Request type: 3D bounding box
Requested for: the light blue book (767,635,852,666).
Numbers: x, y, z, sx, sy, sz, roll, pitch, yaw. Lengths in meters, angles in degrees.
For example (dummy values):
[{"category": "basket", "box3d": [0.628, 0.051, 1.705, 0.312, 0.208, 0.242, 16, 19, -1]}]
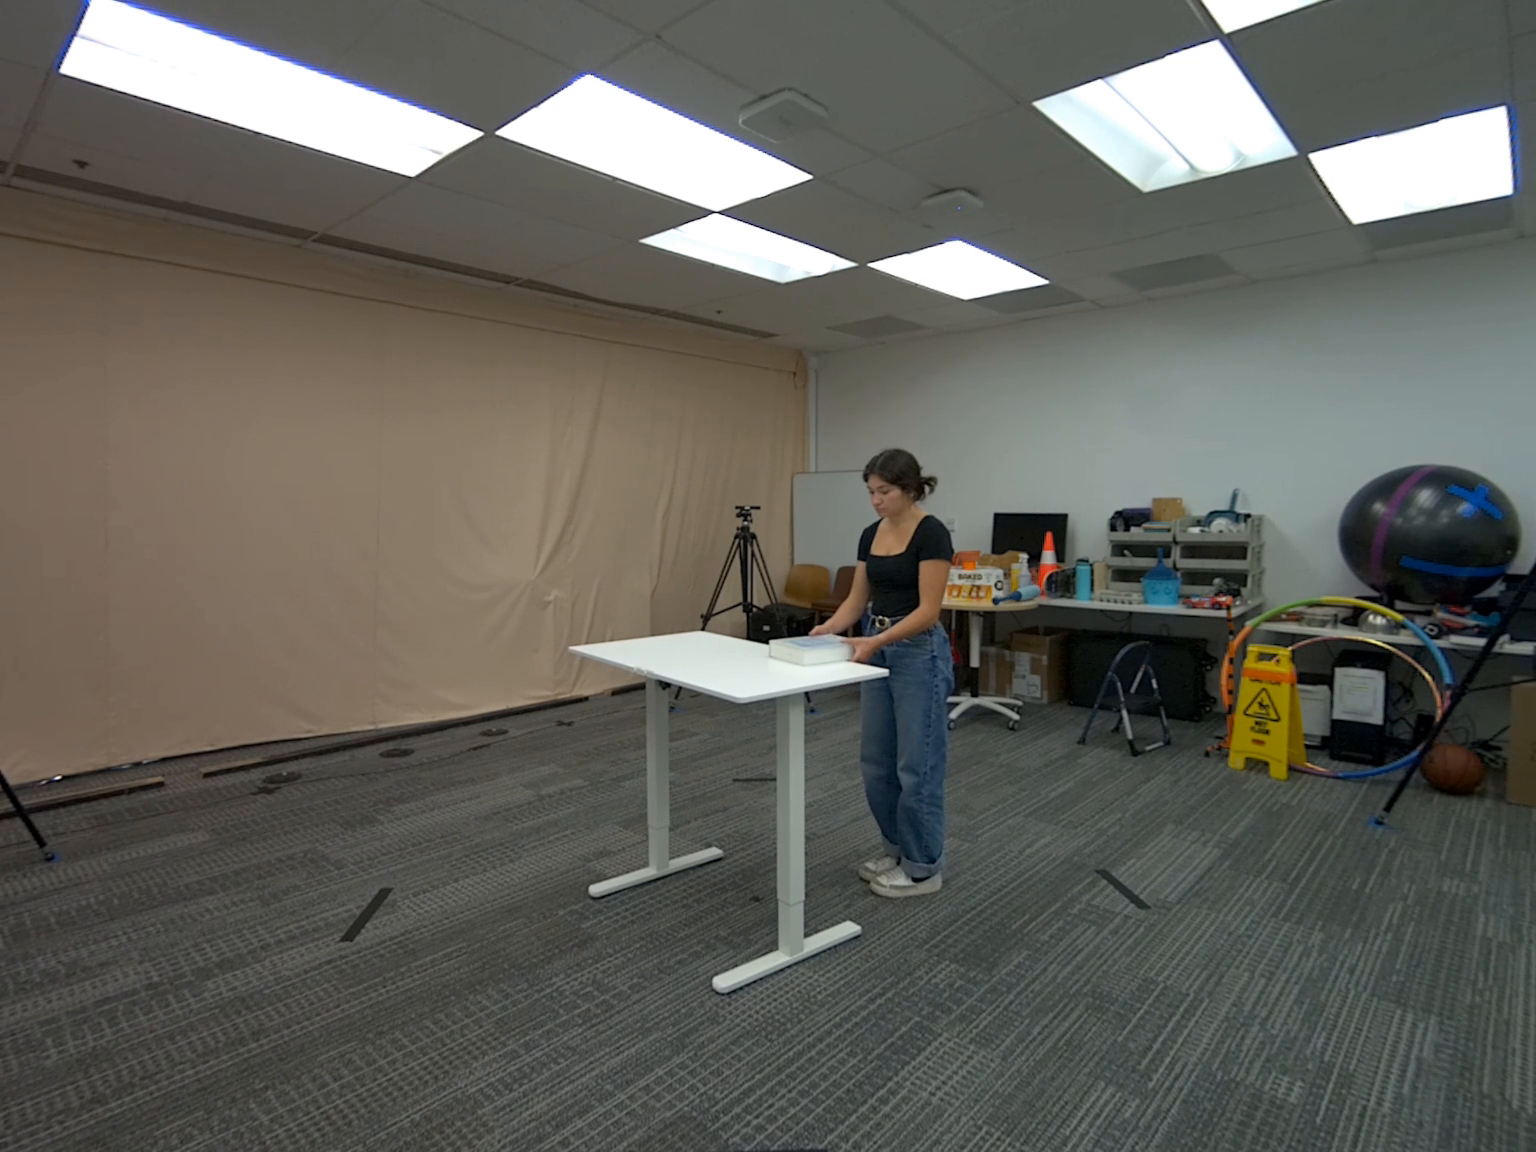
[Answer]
[{"category": "light blue book", "box3d": [0.166, 0.251, 2.821, 0.254, 0.059, 0.197, -2, 7, -32]}]
